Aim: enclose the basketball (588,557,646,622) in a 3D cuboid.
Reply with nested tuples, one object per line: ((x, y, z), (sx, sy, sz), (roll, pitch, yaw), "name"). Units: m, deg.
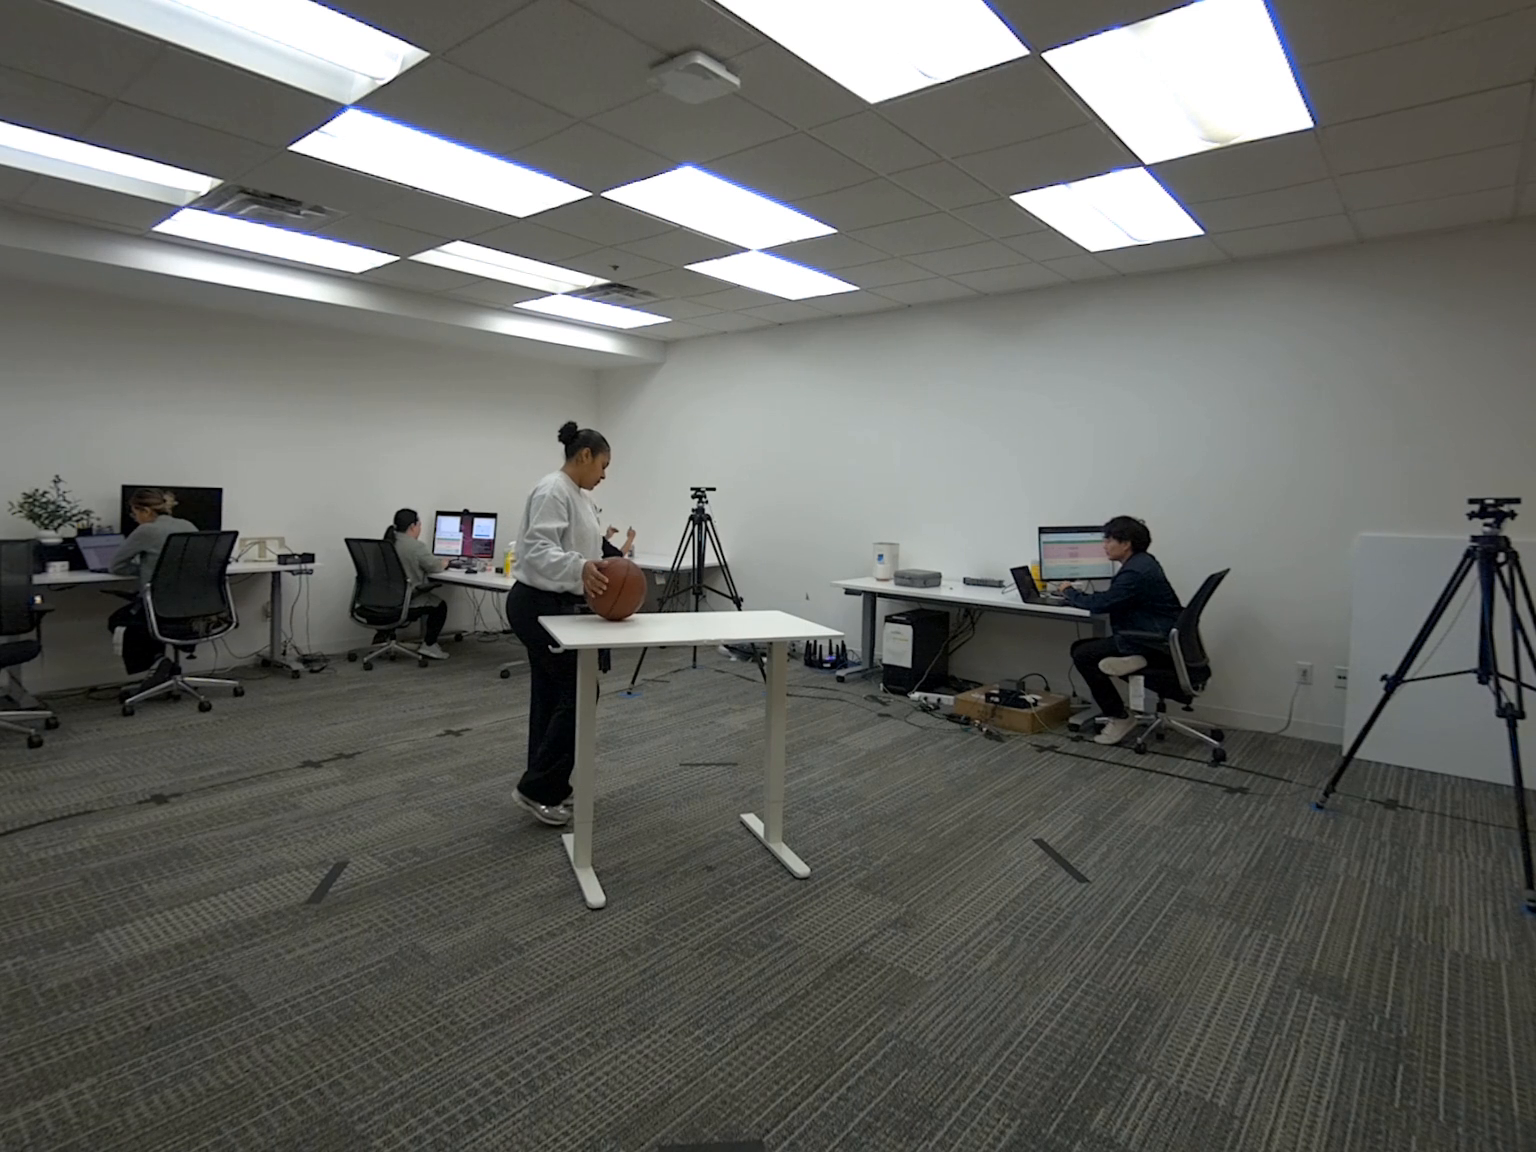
((-0.585, 0.044, 3.220), (0.235, 0.235, 0.237), (1, 4, -2), "basketball")
